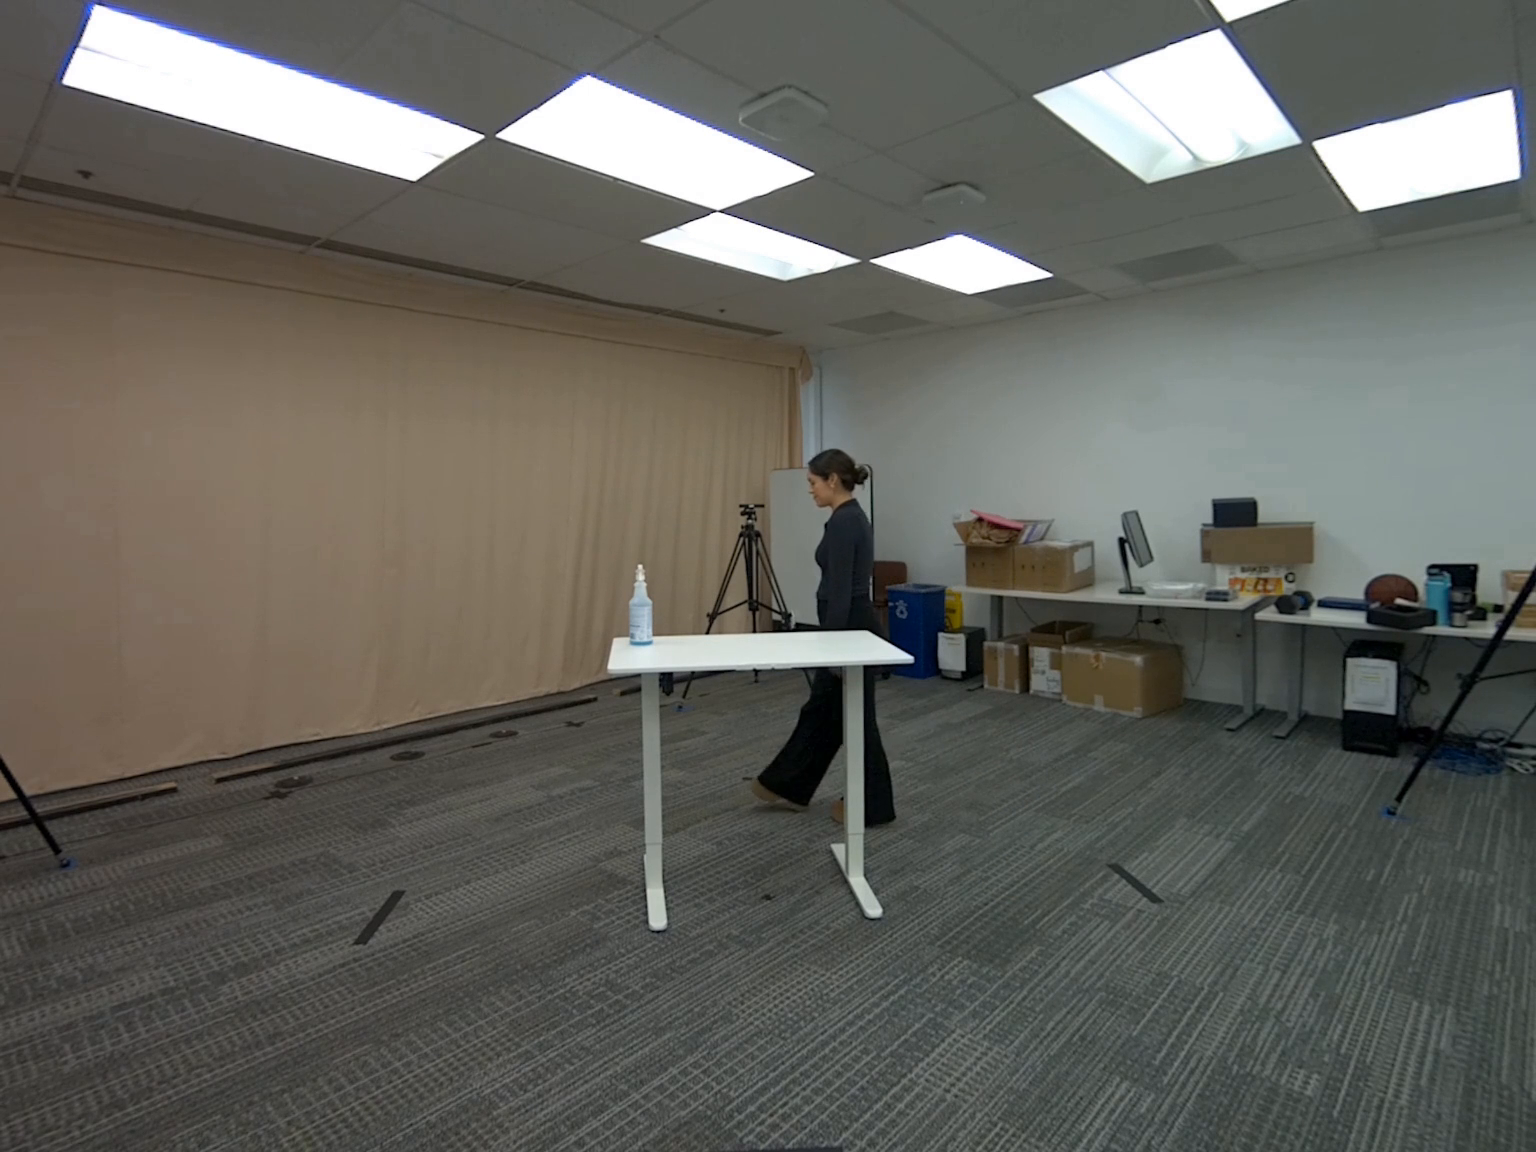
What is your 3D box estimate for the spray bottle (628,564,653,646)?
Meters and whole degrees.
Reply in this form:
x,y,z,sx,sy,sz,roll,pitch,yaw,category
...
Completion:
x,y,z,sx,sy,sz,roll,pitch,yaw,category
-0.471,0.109,3.127,0.089,0.297,0.088,0,4,17,spray bottle
